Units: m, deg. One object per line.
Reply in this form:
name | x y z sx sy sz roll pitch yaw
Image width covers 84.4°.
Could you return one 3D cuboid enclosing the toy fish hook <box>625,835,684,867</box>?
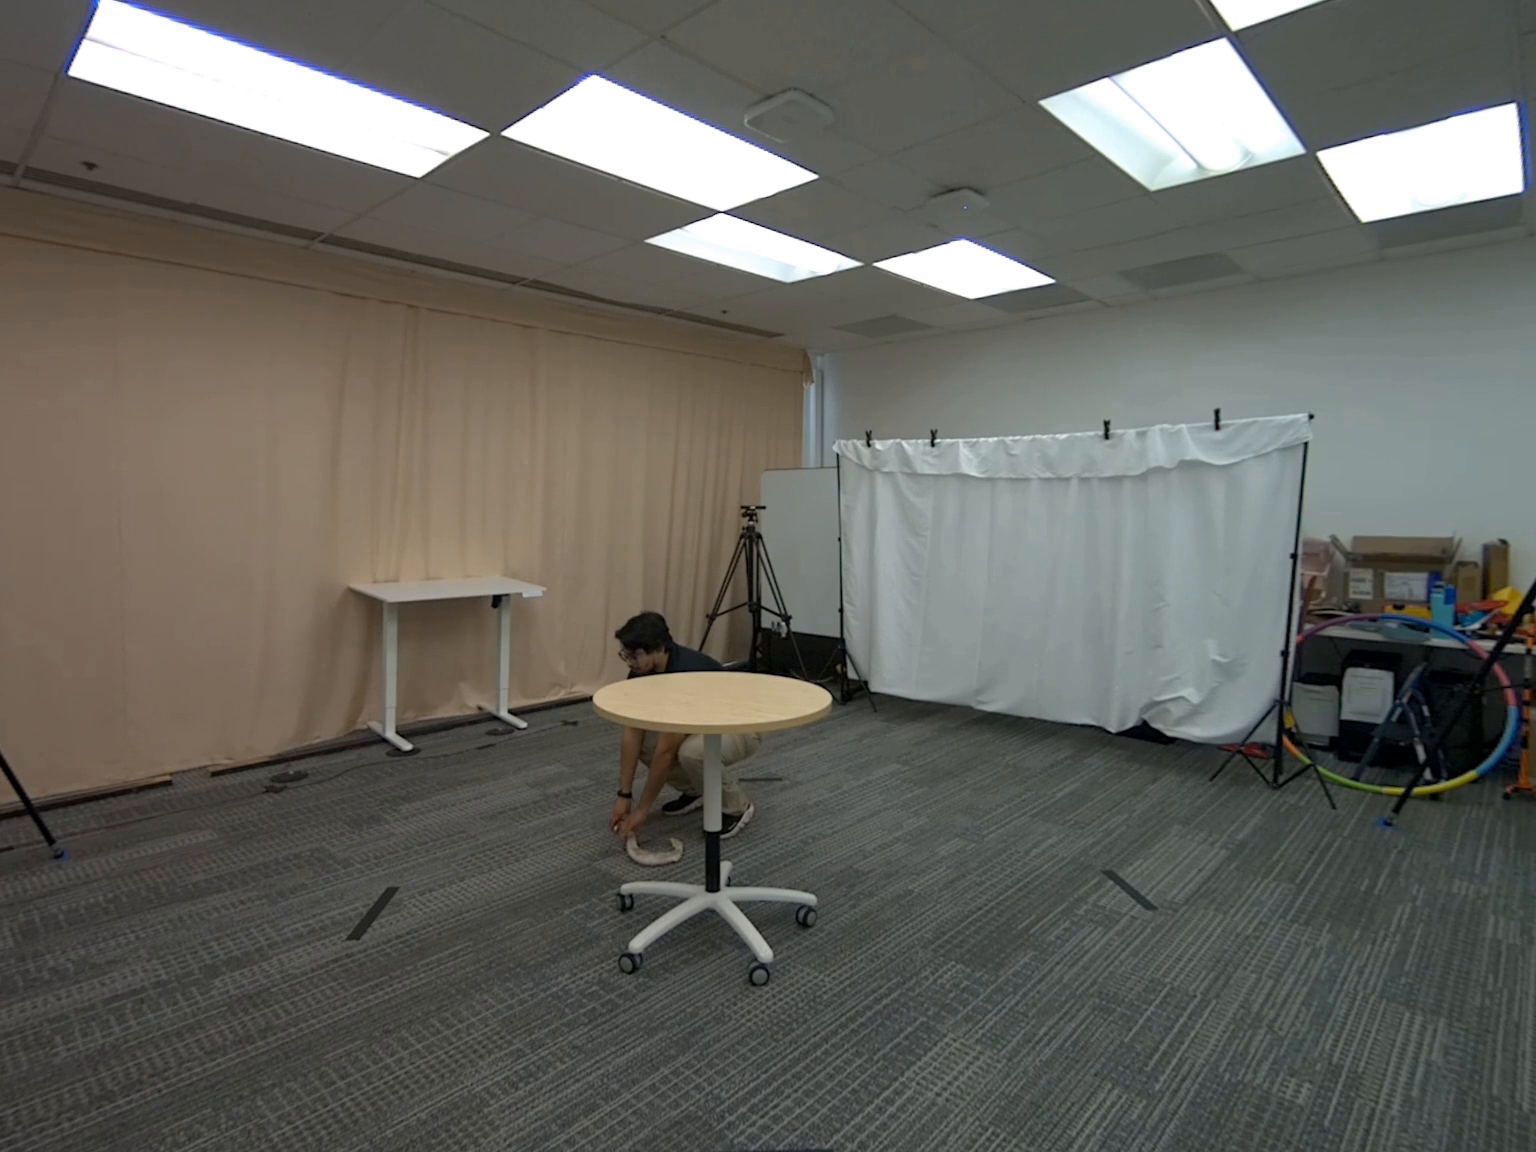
toy fish hook | -0.505 1.082 3.495 0.219 0.048 0.520 6 3 -26
